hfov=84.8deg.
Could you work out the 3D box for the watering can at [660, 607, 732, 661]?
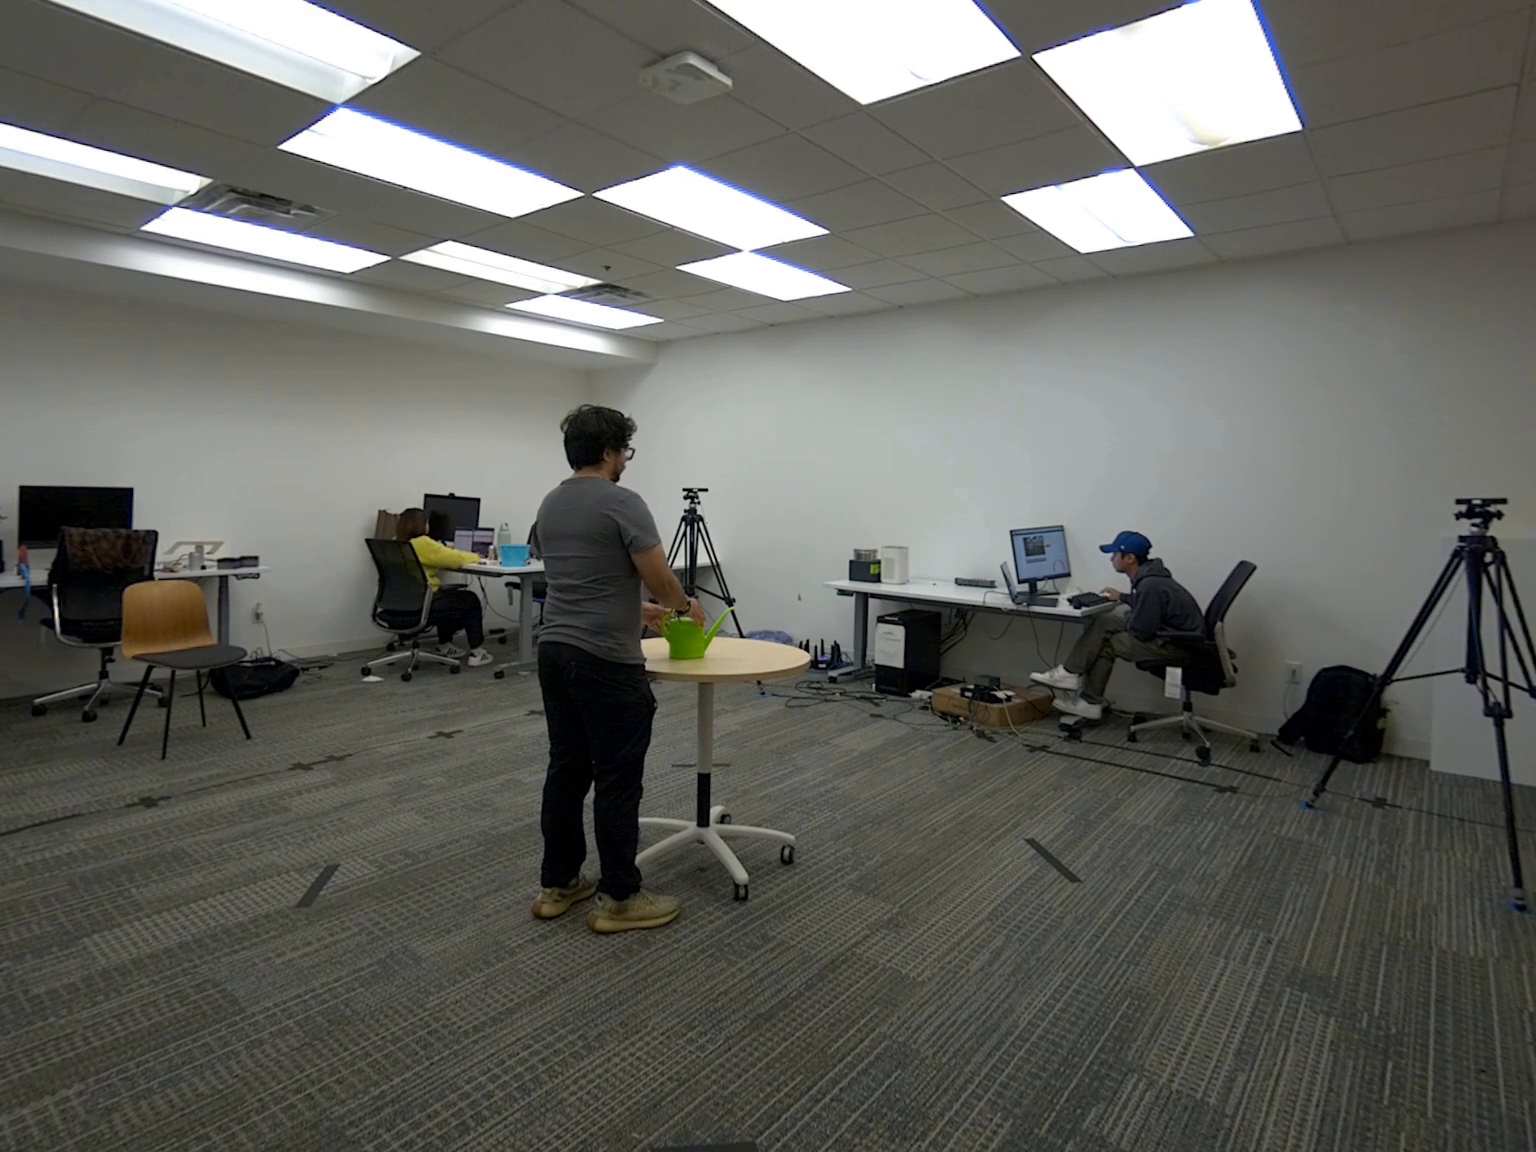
[{"bbox_3d":[-0.254,0.208,3.057,0.278,0.176,0.098,2,7,0],"label":"watering can"}]
